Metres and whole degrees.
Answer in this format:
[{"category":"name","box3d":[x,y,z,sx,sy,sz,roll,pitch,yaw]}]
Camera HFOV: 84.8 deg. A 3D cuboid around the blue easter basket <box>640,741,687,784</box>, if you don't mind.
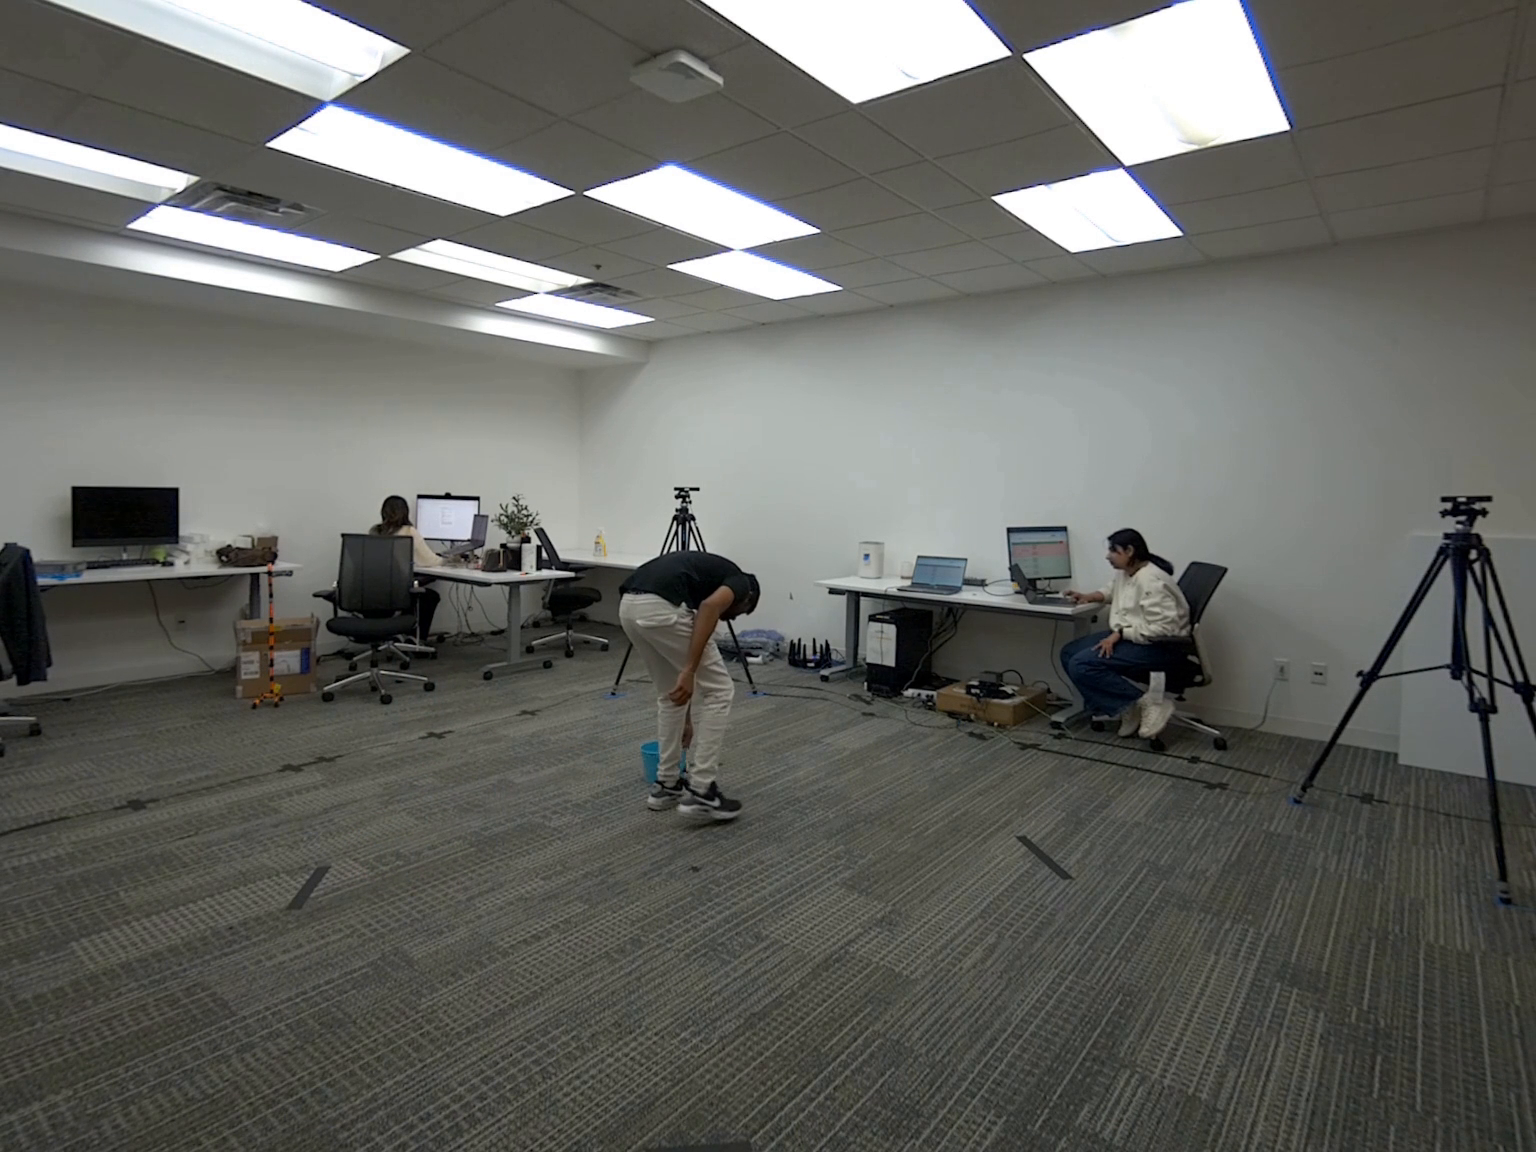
[{"category":"blue easter basket","box3d":[-0.505,0.885,4.059,0.243,0.155,0.245,-2,5,-2]}]
